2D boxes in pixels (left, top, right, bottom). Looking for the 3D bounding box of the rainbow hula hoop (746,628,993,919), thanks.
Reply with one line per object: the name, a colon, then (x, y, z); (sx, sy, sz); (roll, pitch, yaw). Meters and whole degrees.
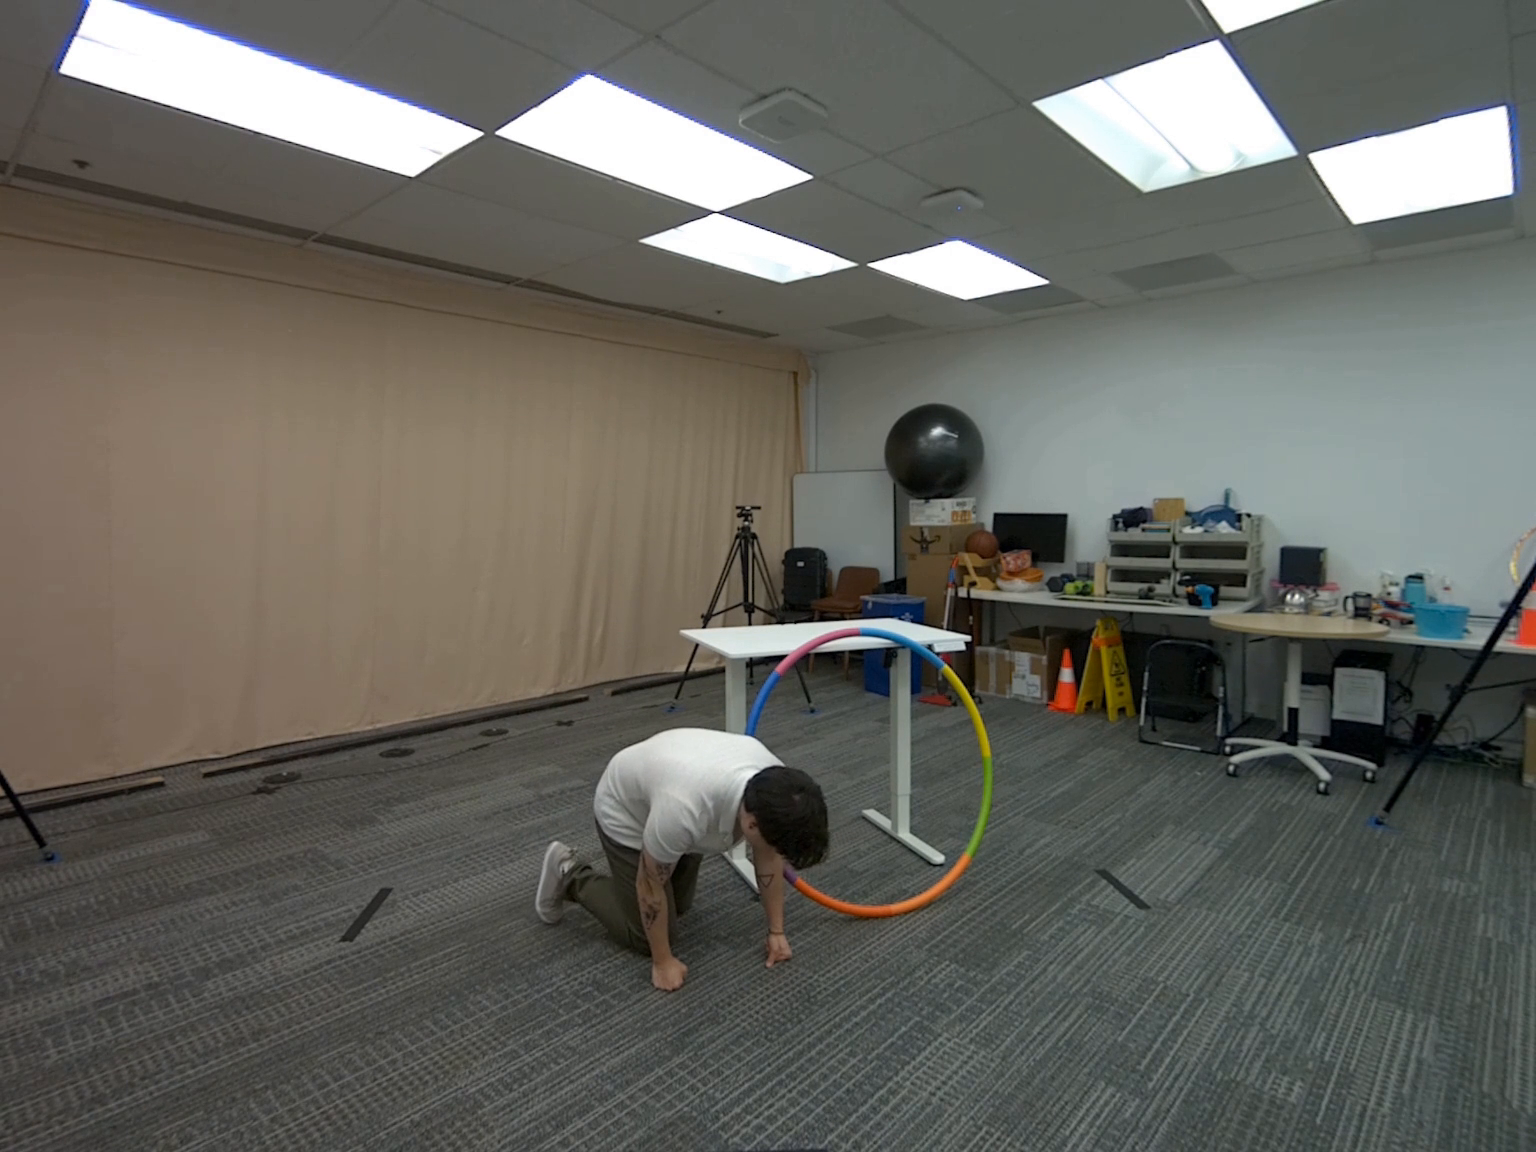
rainbow hula hoop: (0.390, 0.674, 2.963); (0.959, 0.987, 0.036); (-2, -13, -20)
